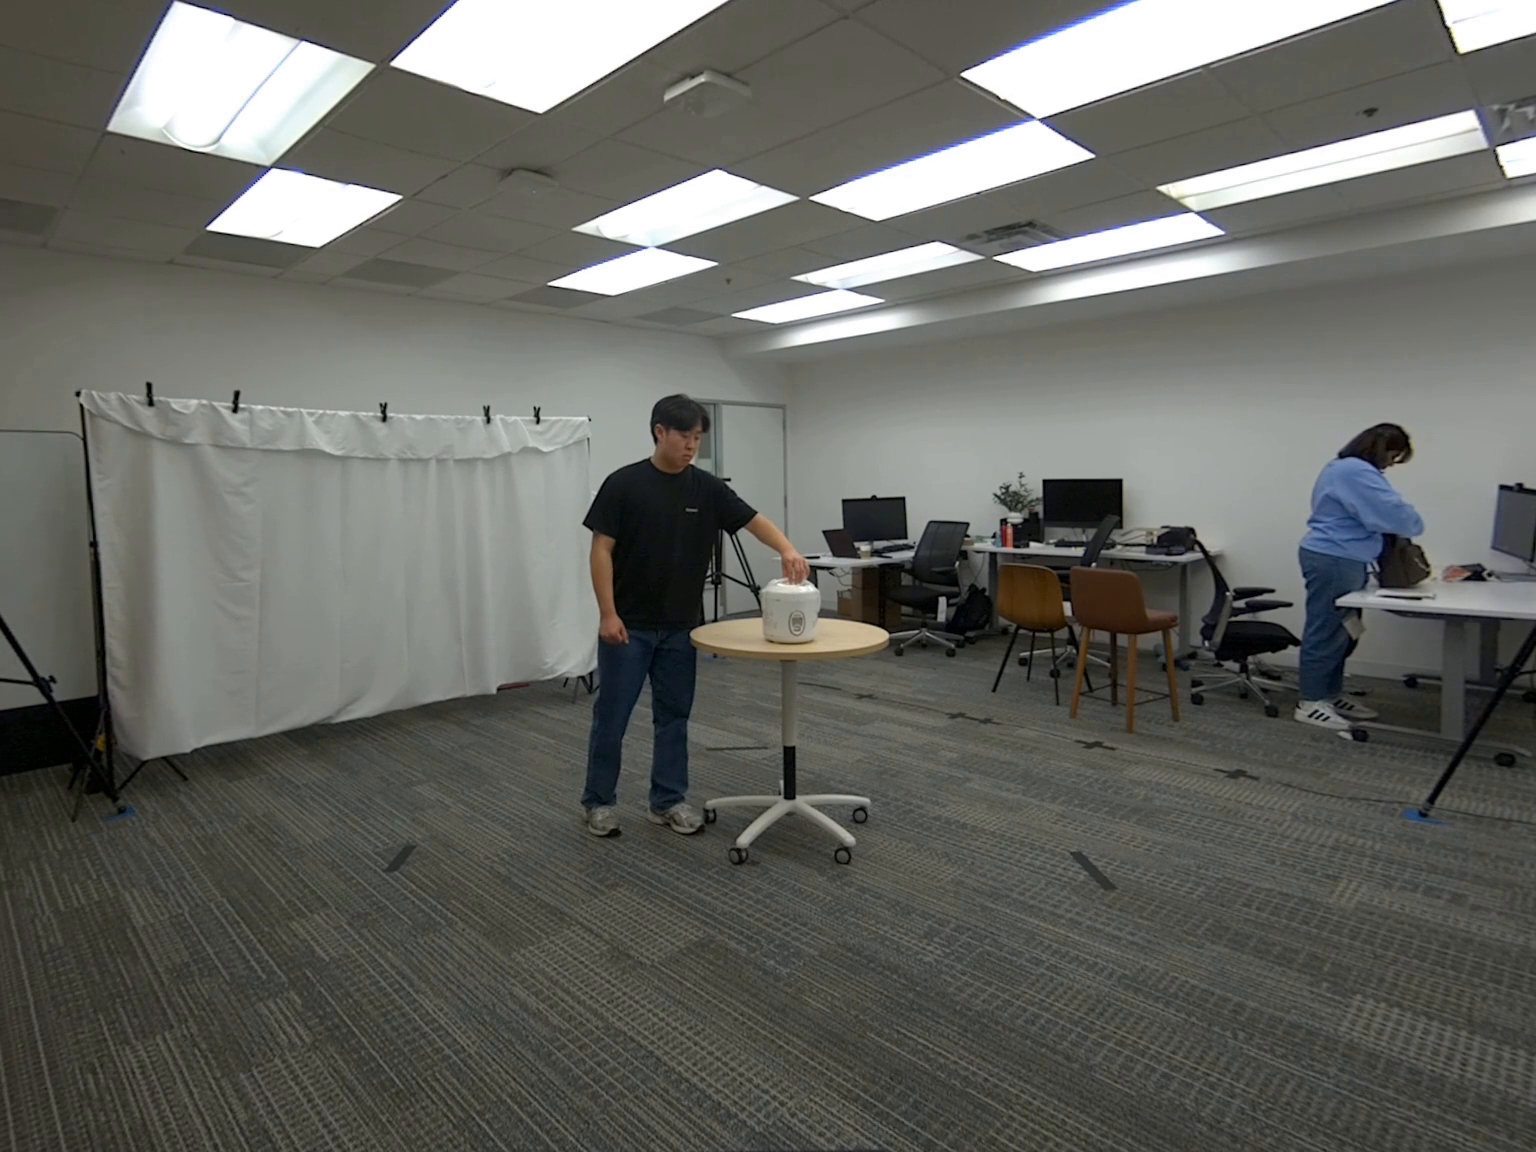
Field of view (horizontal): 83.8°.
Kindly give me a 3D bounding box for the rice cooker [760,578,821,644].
[{"bbox_3d":[0.089,0.120,3.156,0.218,0.232,0.220,-2,4,-11],"label":"rice cooker"}]
